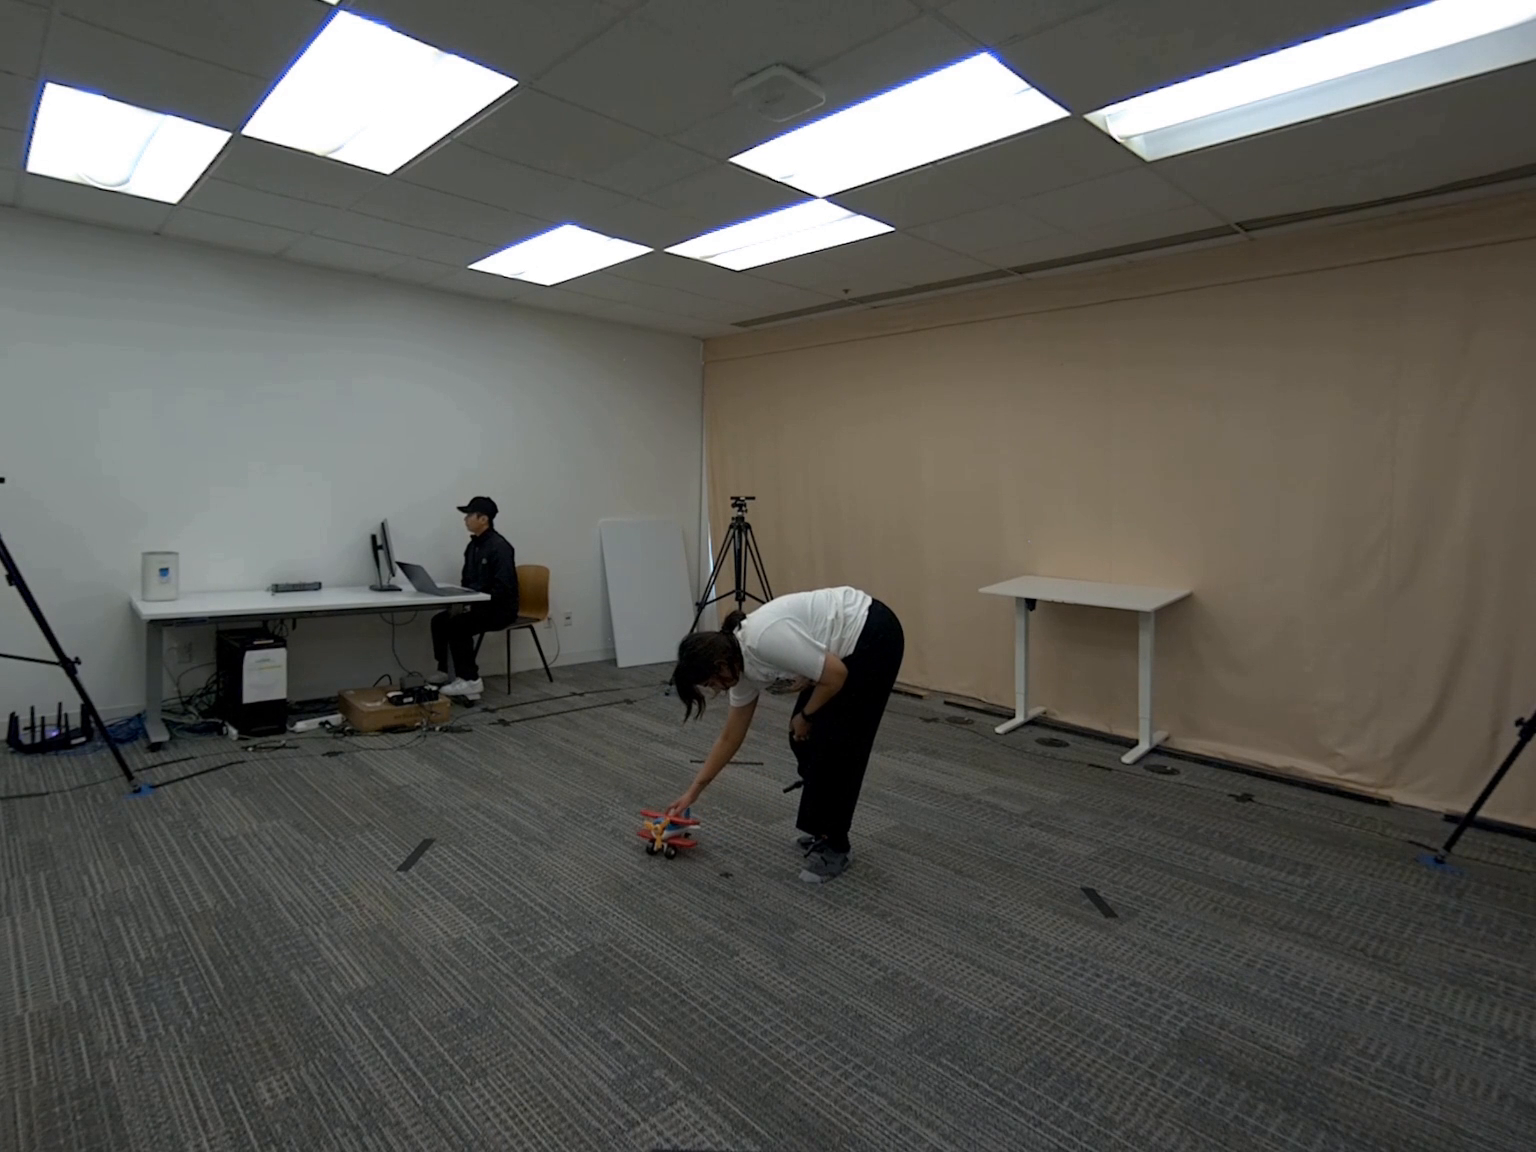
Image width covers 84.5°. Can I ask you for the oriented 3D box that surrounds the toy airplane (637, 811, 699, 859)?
[{"bbox_3d":[-0.400,0.998,3.332,0.250,0.156,0.261,0,5,-3],"label":"toy airplane"}]
